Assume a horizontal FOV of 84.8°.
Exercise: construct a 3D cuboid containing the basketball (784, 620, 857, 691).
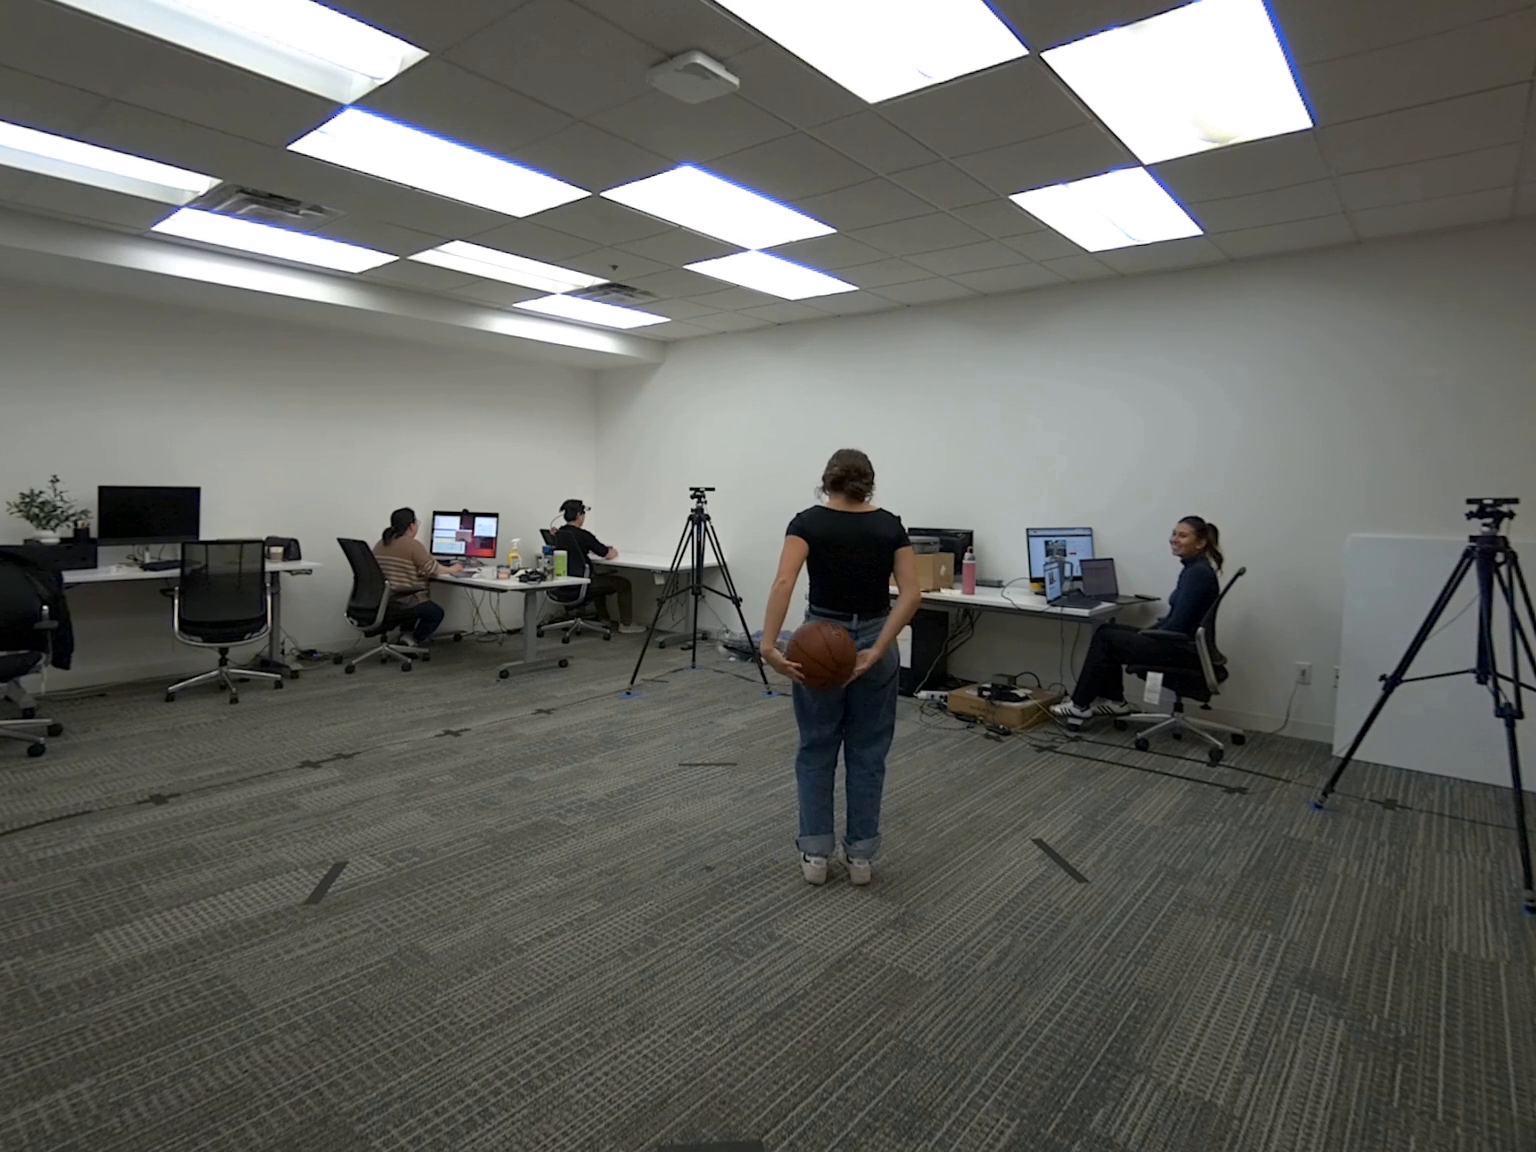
[{"bbox_3d":[0.181,0.258,2.882,0.235,0.235,0.237,1,4,-2],"label":"basketball"}]
